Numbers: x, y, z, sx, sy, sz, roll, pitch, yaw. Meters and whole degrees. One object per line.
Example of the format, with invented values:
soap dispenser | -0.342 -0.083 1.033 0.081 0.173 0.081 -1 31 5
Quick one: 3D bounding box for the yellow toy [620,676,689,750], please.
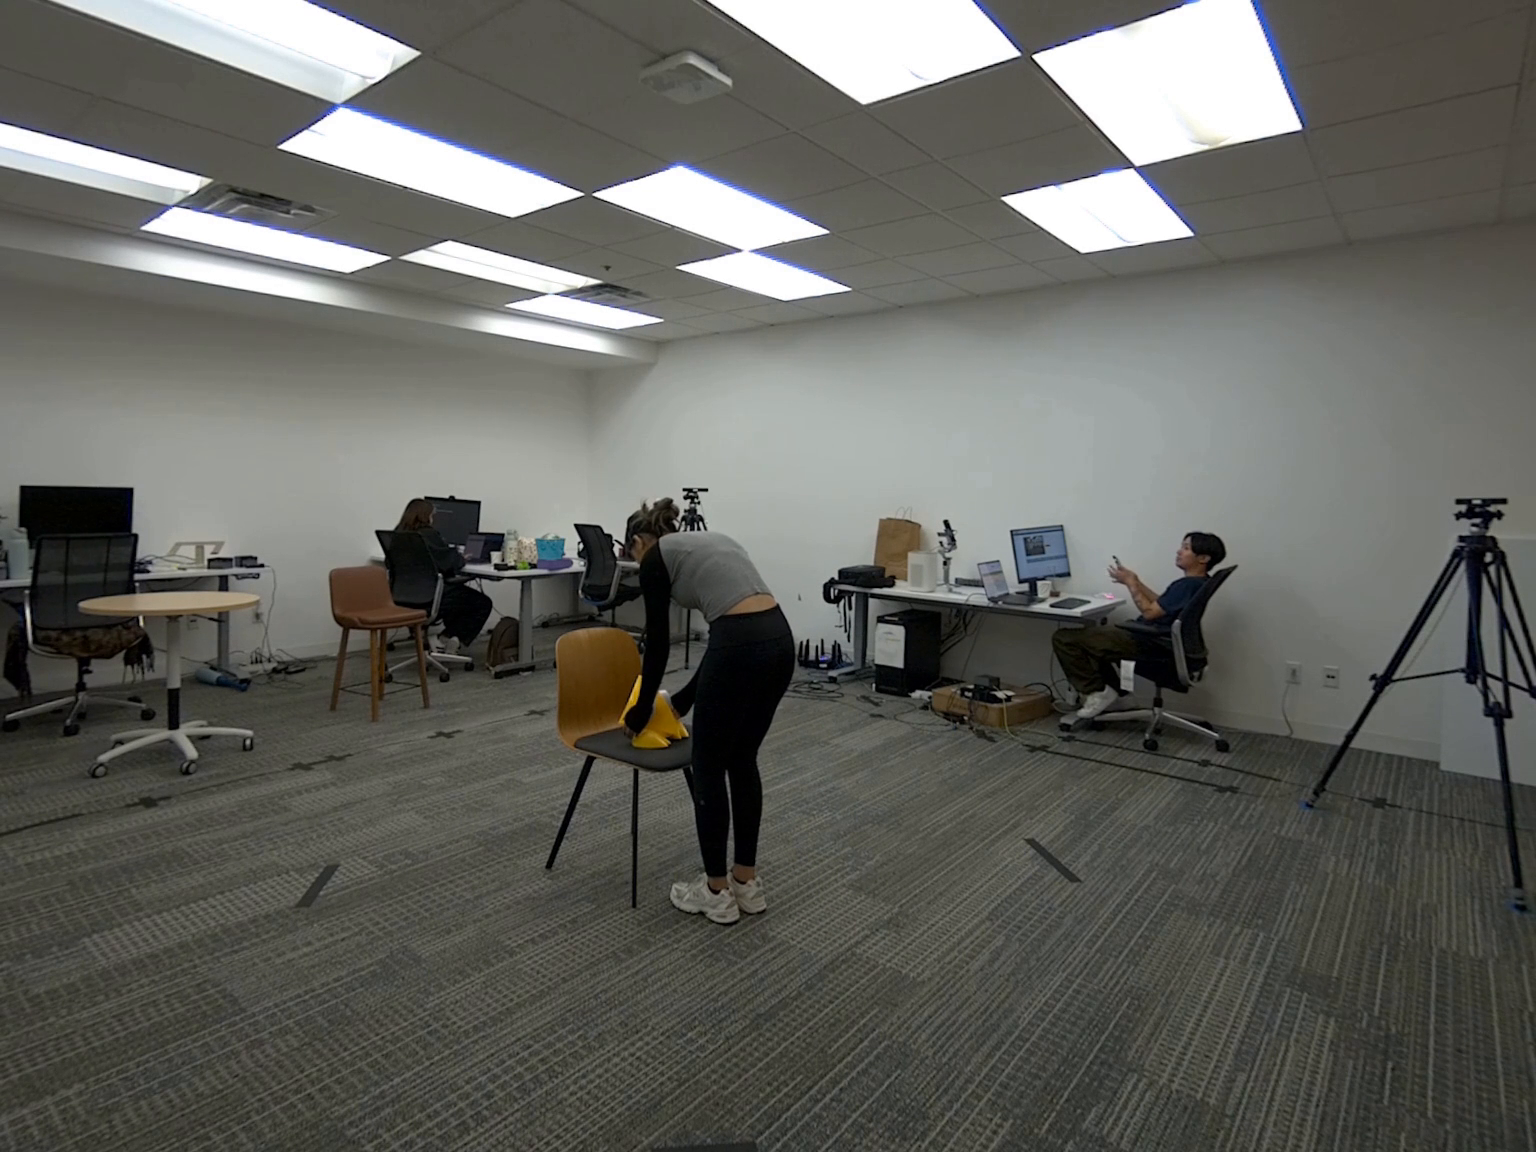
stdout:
yellow toy | -0.415 0.475 3.059 0.198 0.230 0.200 -2 4 31
